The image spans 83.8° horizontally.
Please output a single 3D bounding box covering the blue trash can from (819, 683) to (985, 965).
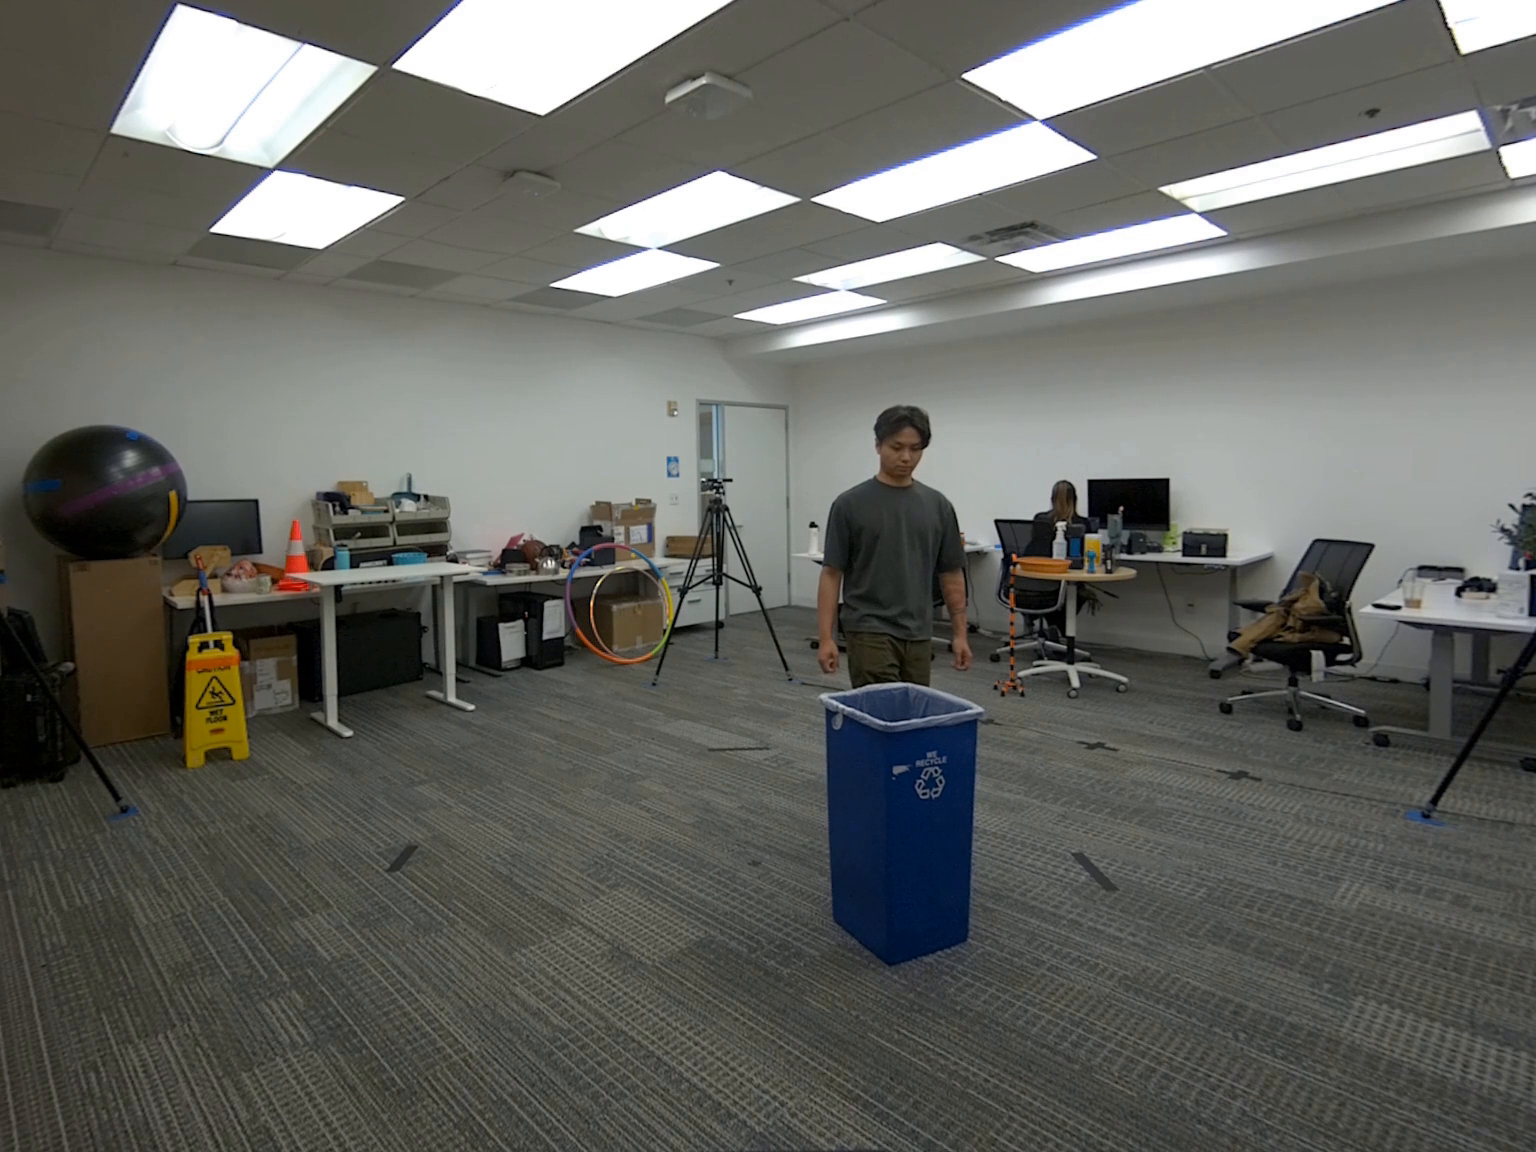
[{"bbox_3d":[0.395,0.734,2.614,0.369,0.710,0.385,-3,6,-30],"label":"blue trash can"}]
